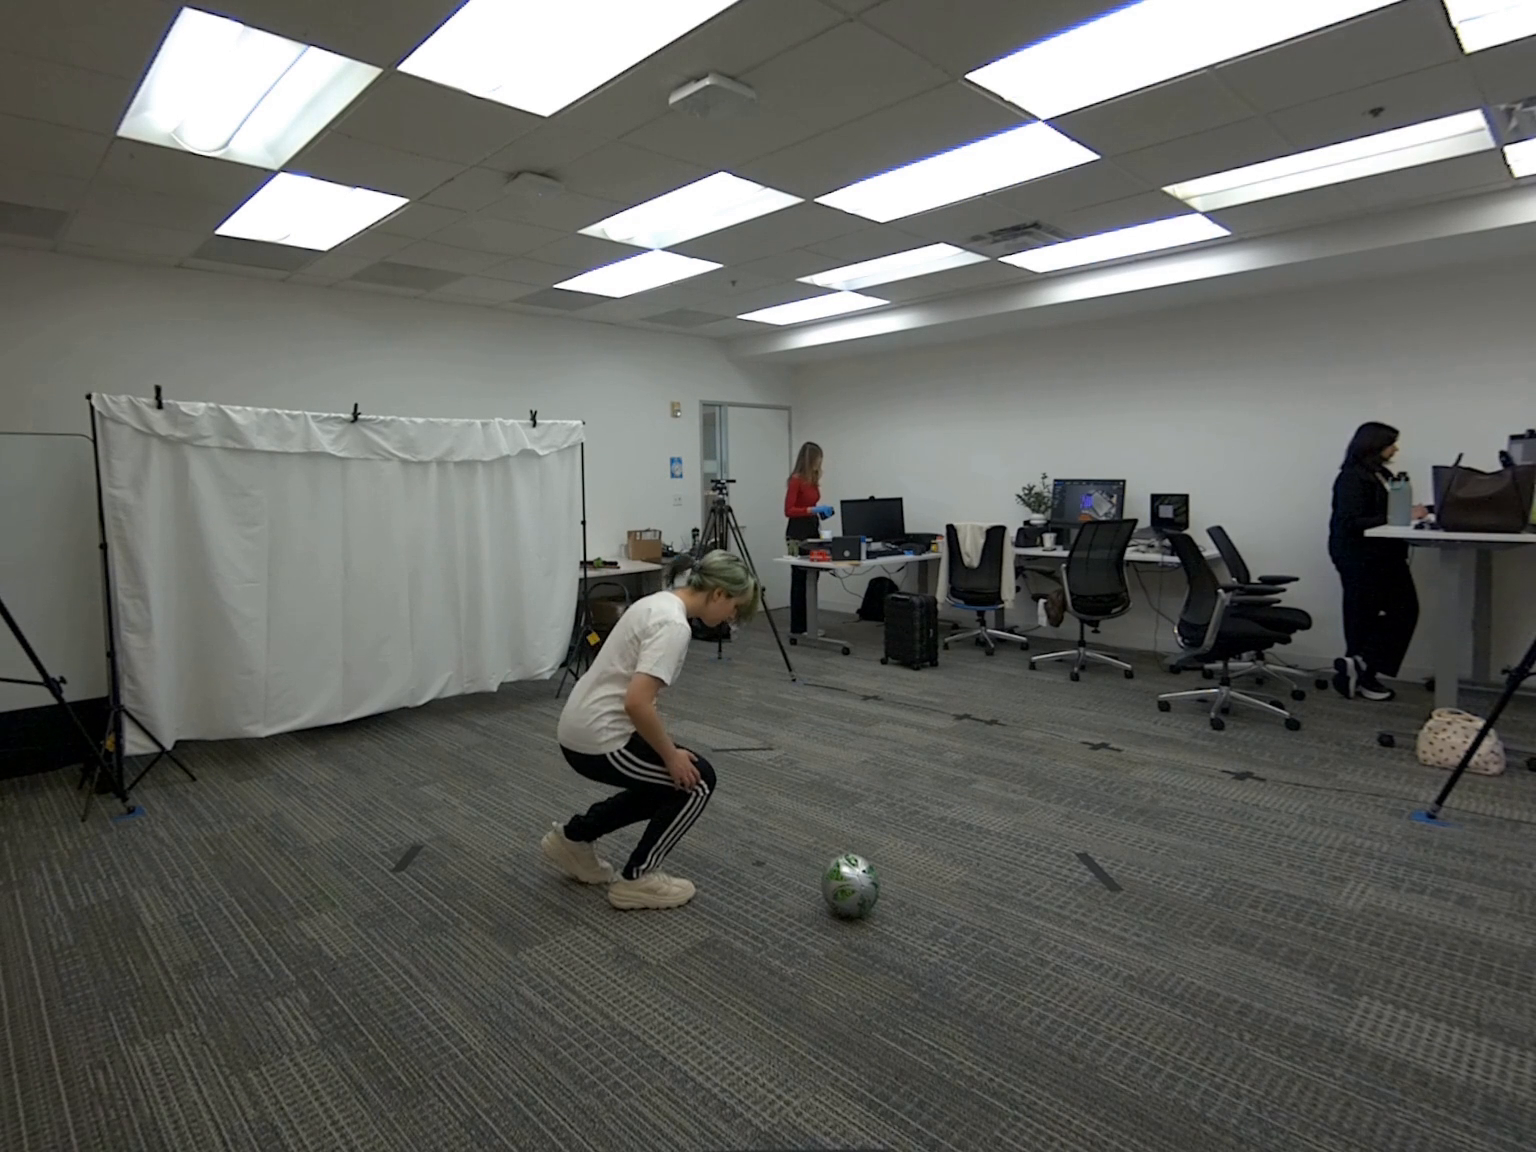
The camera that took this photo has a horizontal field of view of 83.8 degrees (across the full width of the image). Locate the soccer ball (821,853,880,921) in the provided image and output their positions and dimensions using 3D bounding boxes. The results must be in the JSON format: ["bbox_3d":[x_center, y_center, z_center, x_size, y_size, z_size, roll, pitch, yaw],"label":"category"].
[{"bbox_3d":[0.260,0.982,2.735,0.187,0.187,0.188,-1,5,-2],"label":"soccer ball"}]
